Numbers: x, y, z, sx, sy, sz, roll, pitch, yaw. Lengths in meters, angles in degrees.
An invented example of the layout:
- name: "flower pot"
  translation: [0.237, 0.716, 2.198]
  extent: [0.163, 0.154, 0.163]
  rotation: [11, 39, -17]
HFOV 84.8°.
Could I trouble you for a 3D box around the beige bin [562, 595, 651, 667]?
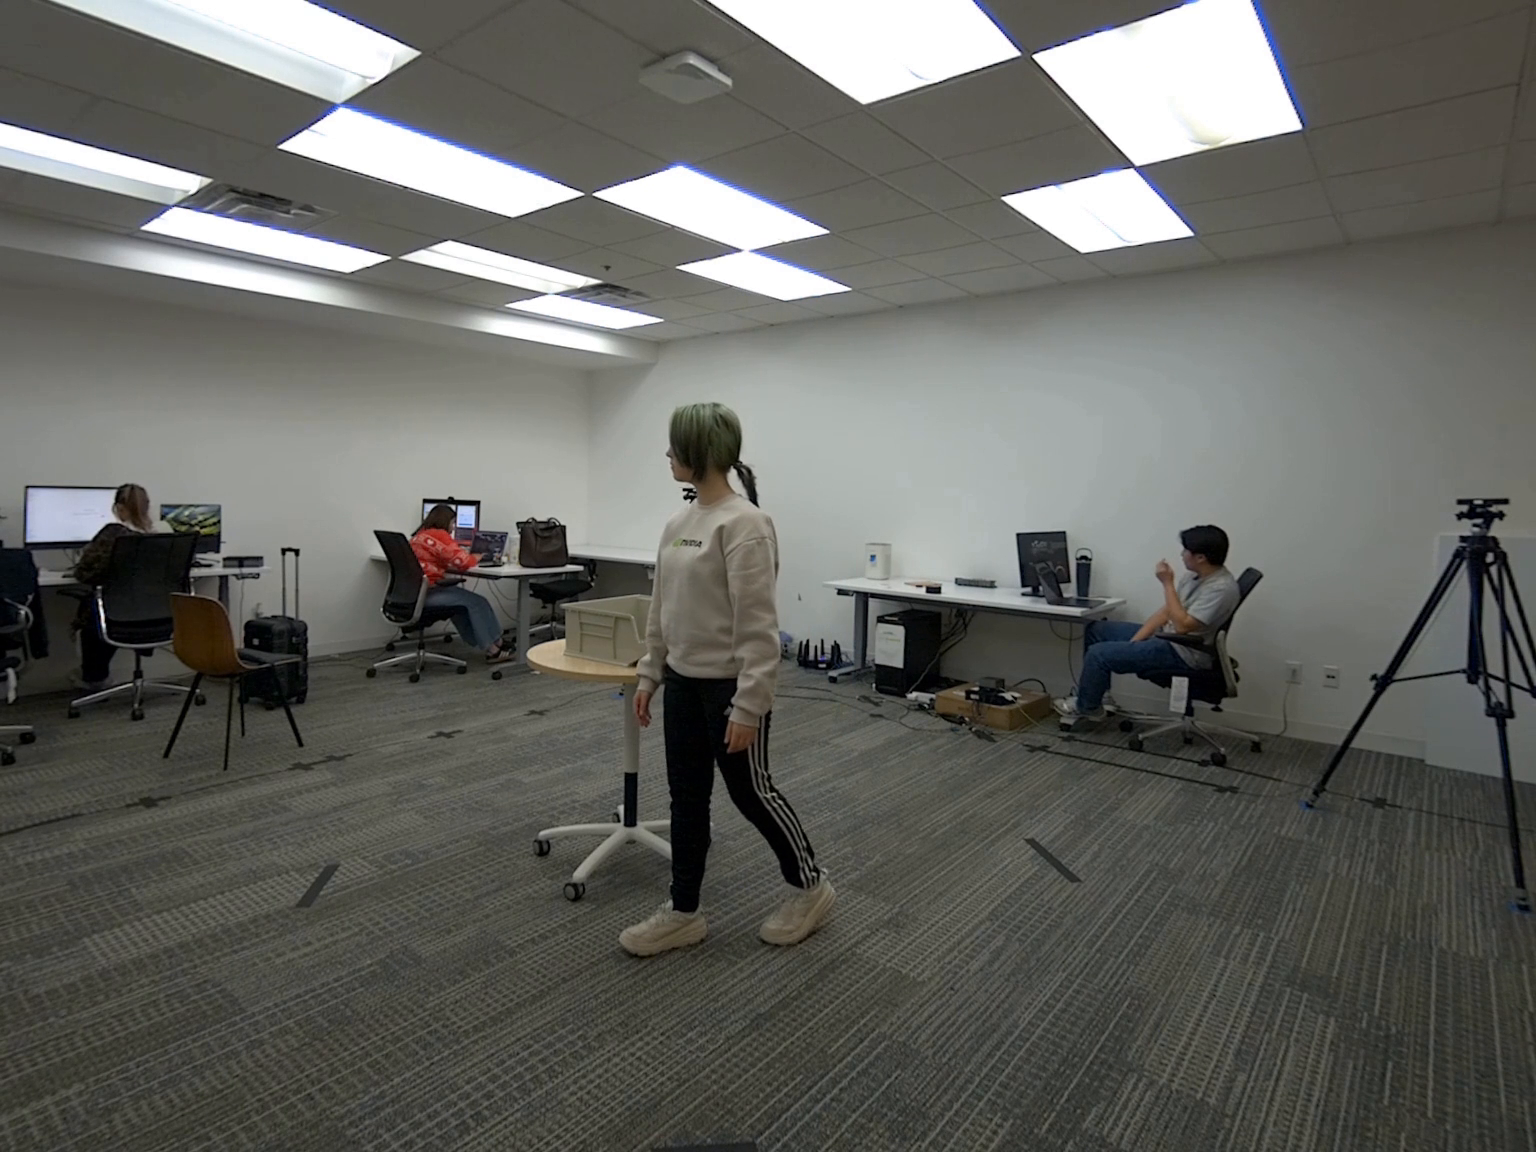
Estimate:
- name: "beige bin"
  translation: [-0.484, 0.192, 3.101]
  extent: [0.389, 0.188, 0.411]
  rotation: [4, 6, 34]
